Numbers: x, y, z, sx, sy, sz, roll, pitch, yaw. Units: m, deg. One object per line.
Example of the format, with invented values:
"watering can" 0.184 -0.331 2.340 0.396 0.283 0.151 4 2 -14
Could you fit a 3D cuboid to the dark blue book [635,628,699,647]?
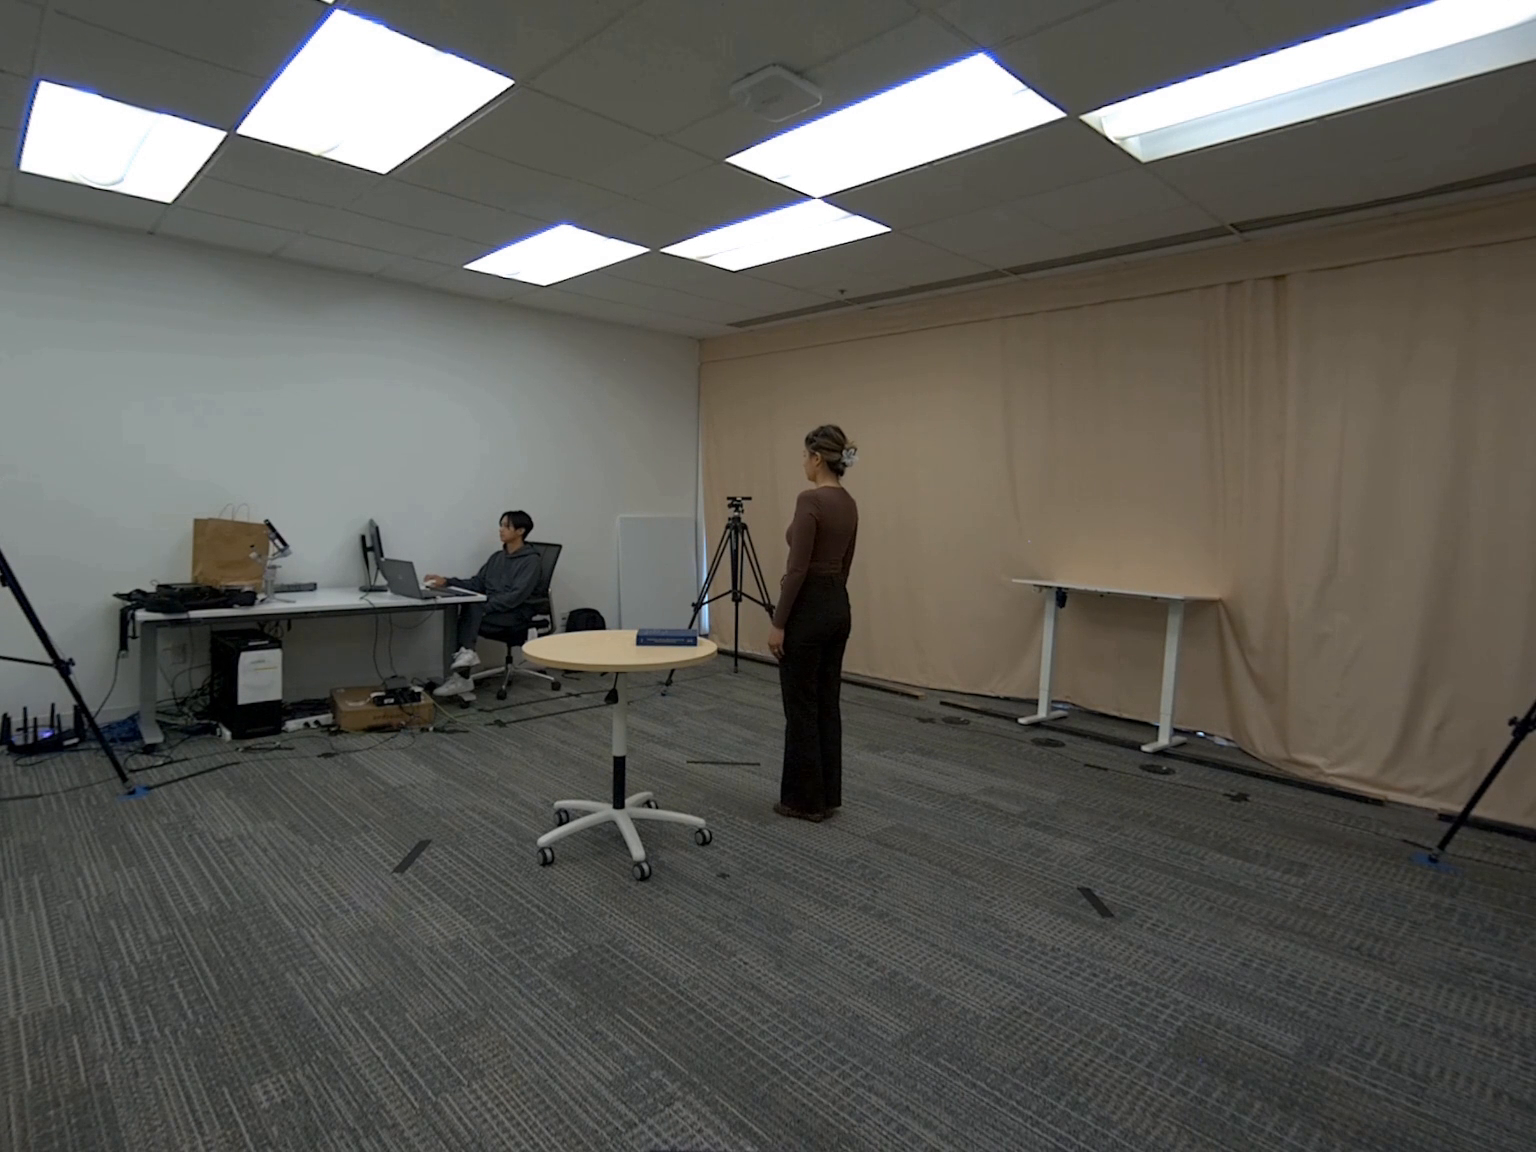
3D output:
"dark blue book" -0.421 0.250 3.430 0.244 0.045 0.164 1 5 -3
